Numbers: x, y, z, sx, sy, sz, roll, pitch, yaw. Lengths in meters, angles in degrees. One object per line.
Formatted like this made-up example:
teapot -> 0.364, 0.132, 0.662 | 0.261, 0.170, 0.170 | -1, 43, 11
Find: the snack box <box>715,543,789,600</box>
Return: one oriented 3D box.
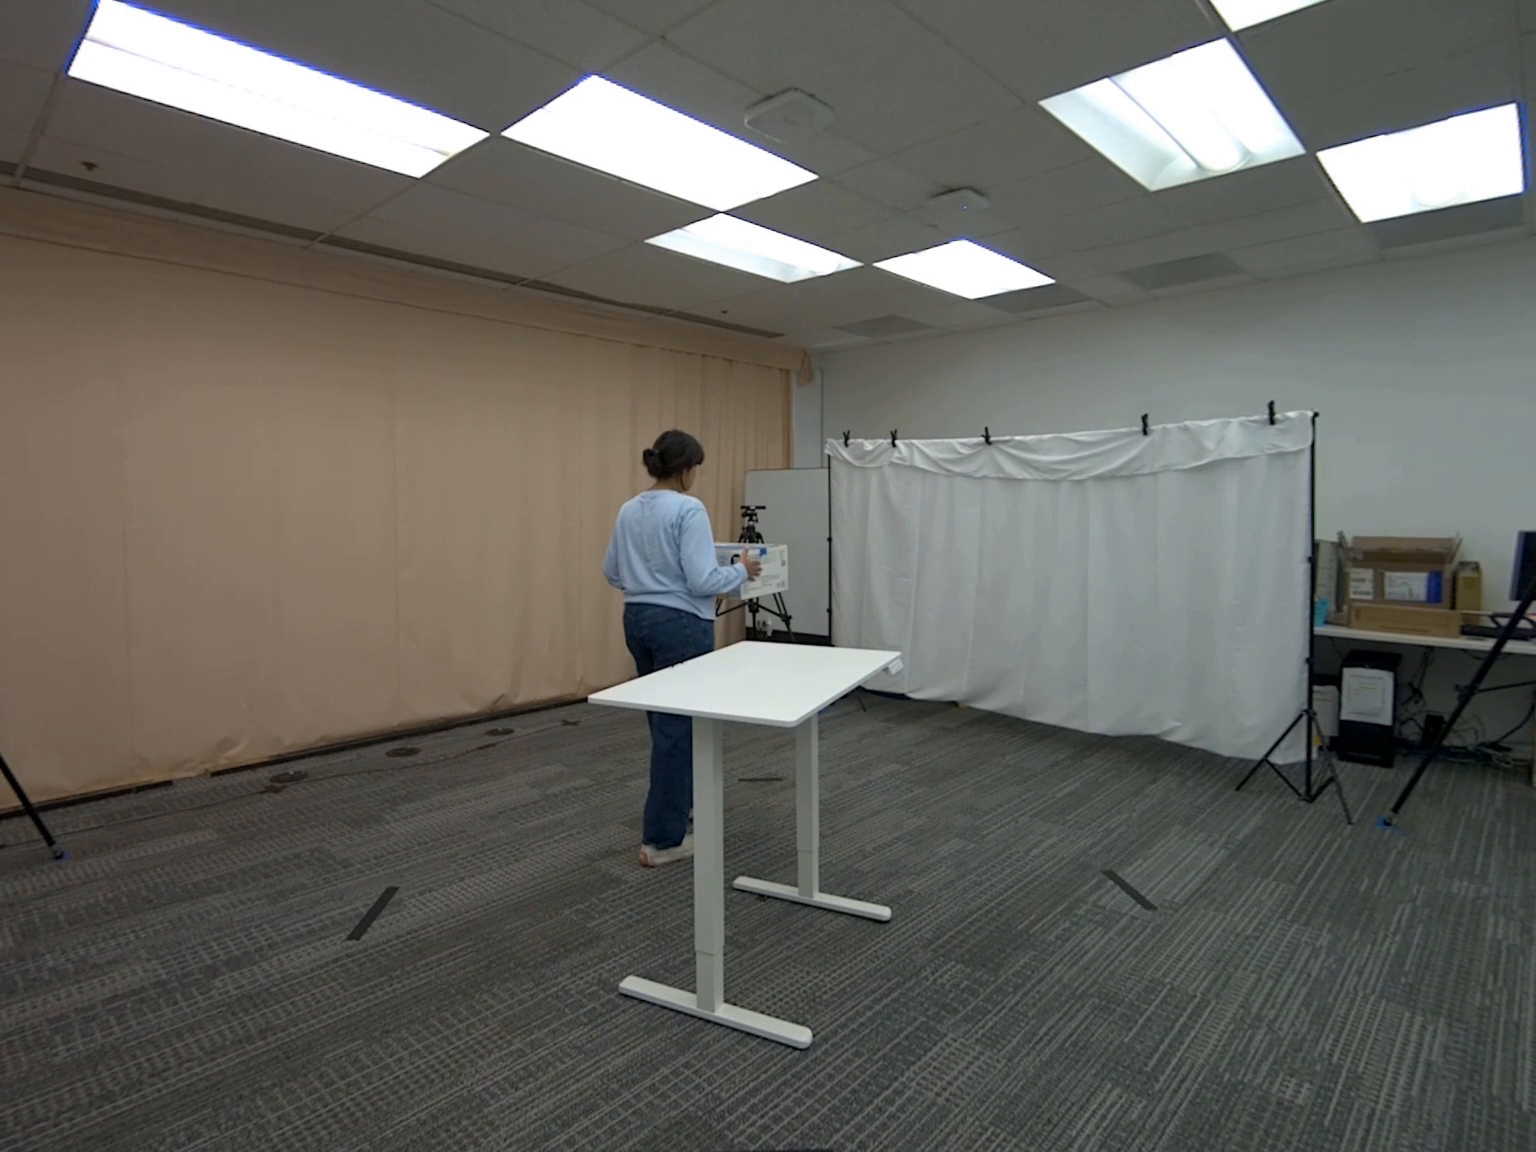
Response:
snack box -> -0.174, -0.031, 3.690 | 0.418, 0.205, 0.331 | 4, 8, 38
